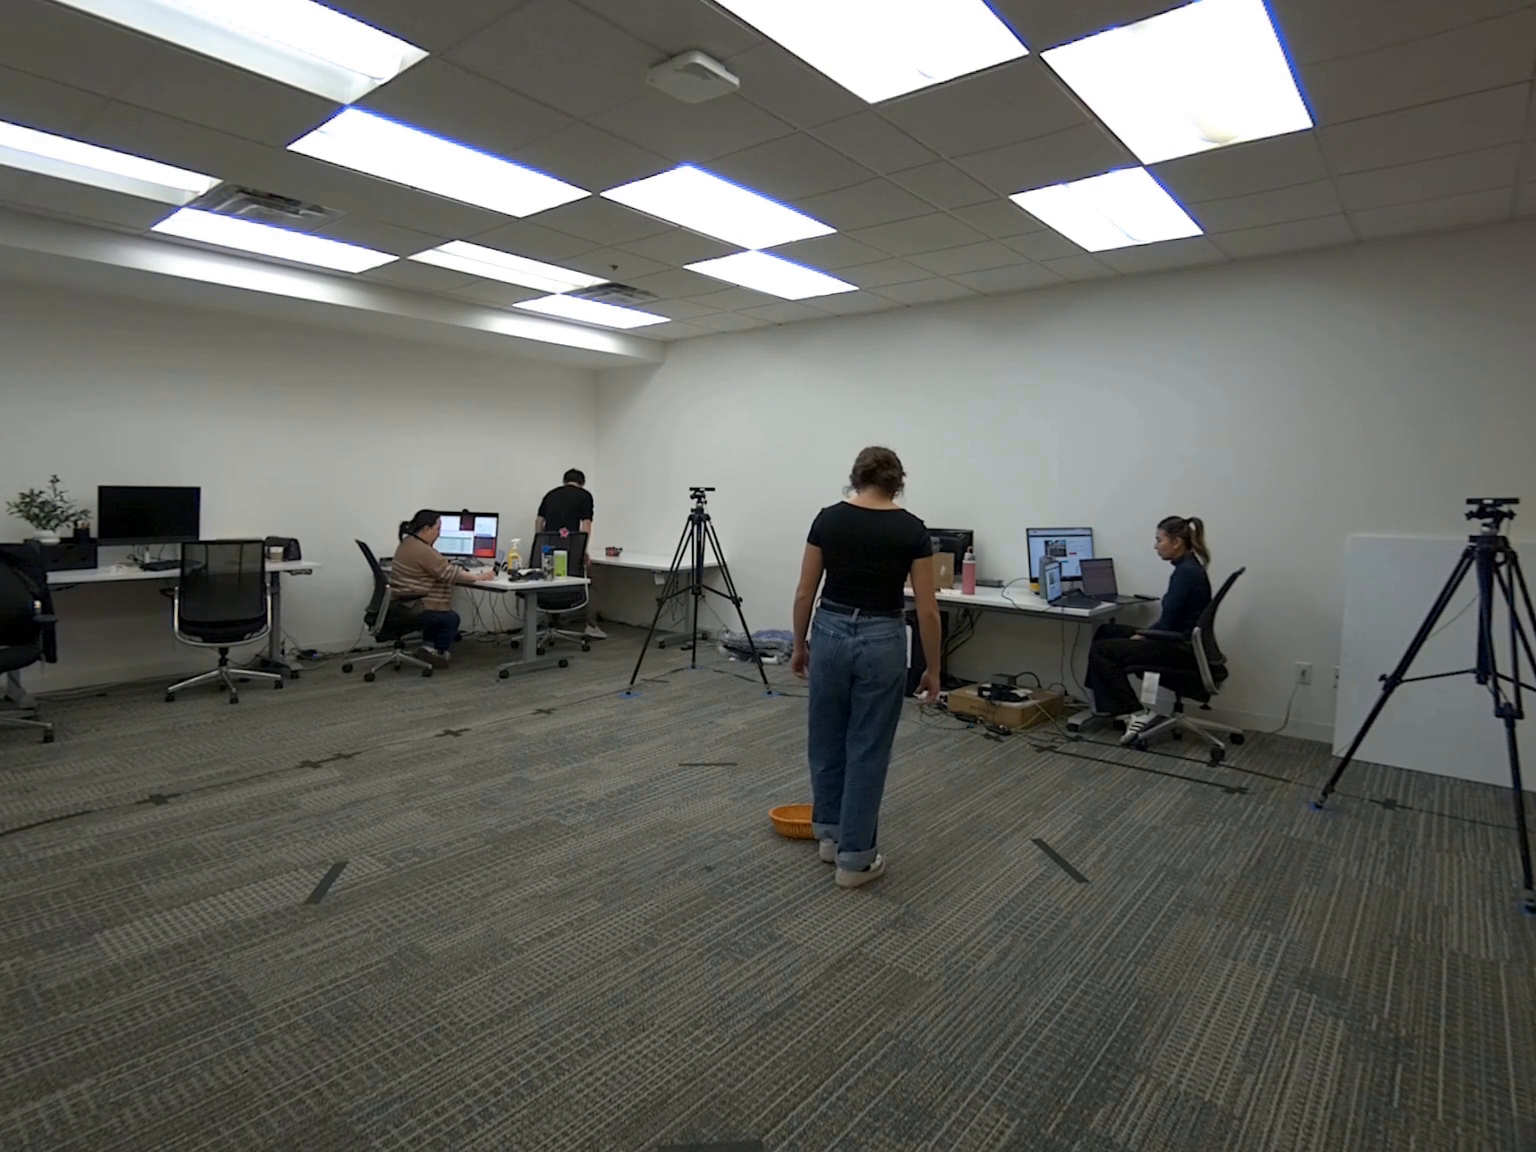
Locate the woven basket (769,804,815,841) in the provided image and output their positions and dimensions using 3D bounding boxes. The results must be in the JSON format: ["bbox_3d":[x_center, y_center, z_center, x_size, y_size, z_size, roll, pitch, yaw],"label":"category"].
[{"bbox_3d":[0.160,0.993,3.462,0.356,0.073,0.248,0,1,14],"label":"woven basket"}]
